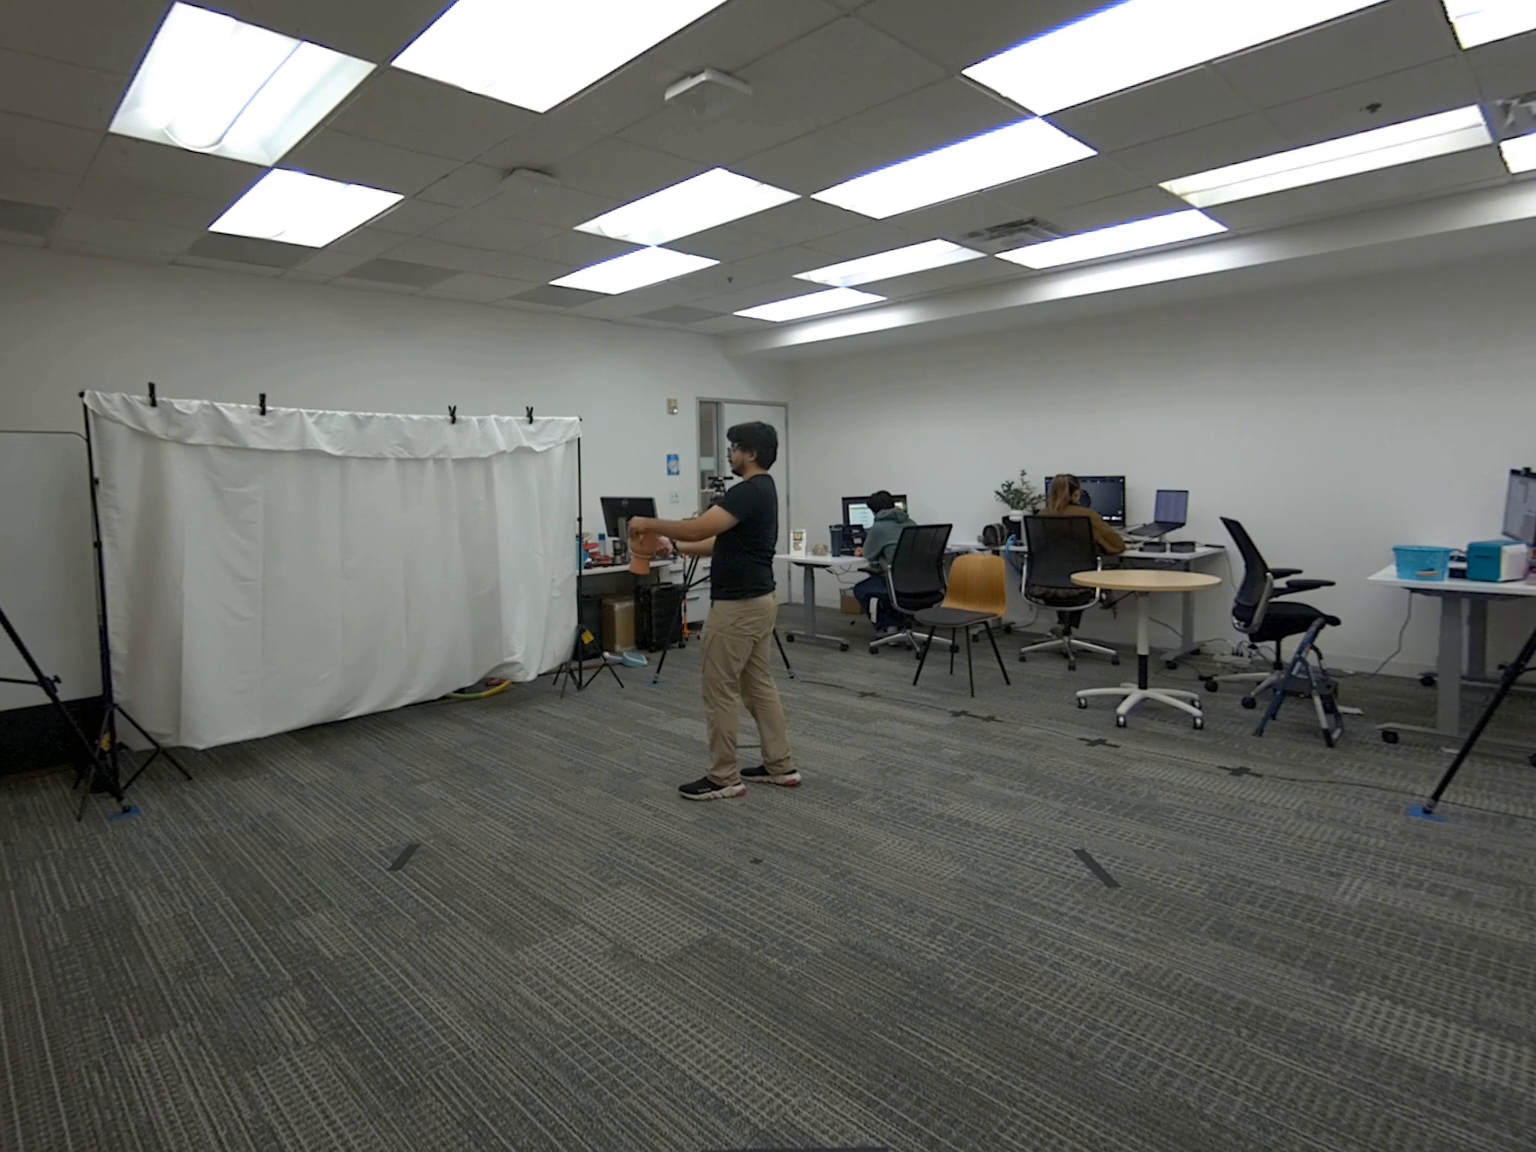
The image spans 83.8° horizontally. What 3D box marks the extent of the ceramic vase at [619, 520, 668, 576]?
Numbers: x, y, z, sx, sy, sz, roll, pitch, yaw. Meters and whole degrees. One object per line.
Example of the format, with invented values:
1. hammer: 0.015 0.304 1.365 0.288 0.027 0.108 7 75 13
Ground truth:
1. ceramic vase: -0.558 -0.132 3.885 0.139 0.218 0.154 19 16 41
